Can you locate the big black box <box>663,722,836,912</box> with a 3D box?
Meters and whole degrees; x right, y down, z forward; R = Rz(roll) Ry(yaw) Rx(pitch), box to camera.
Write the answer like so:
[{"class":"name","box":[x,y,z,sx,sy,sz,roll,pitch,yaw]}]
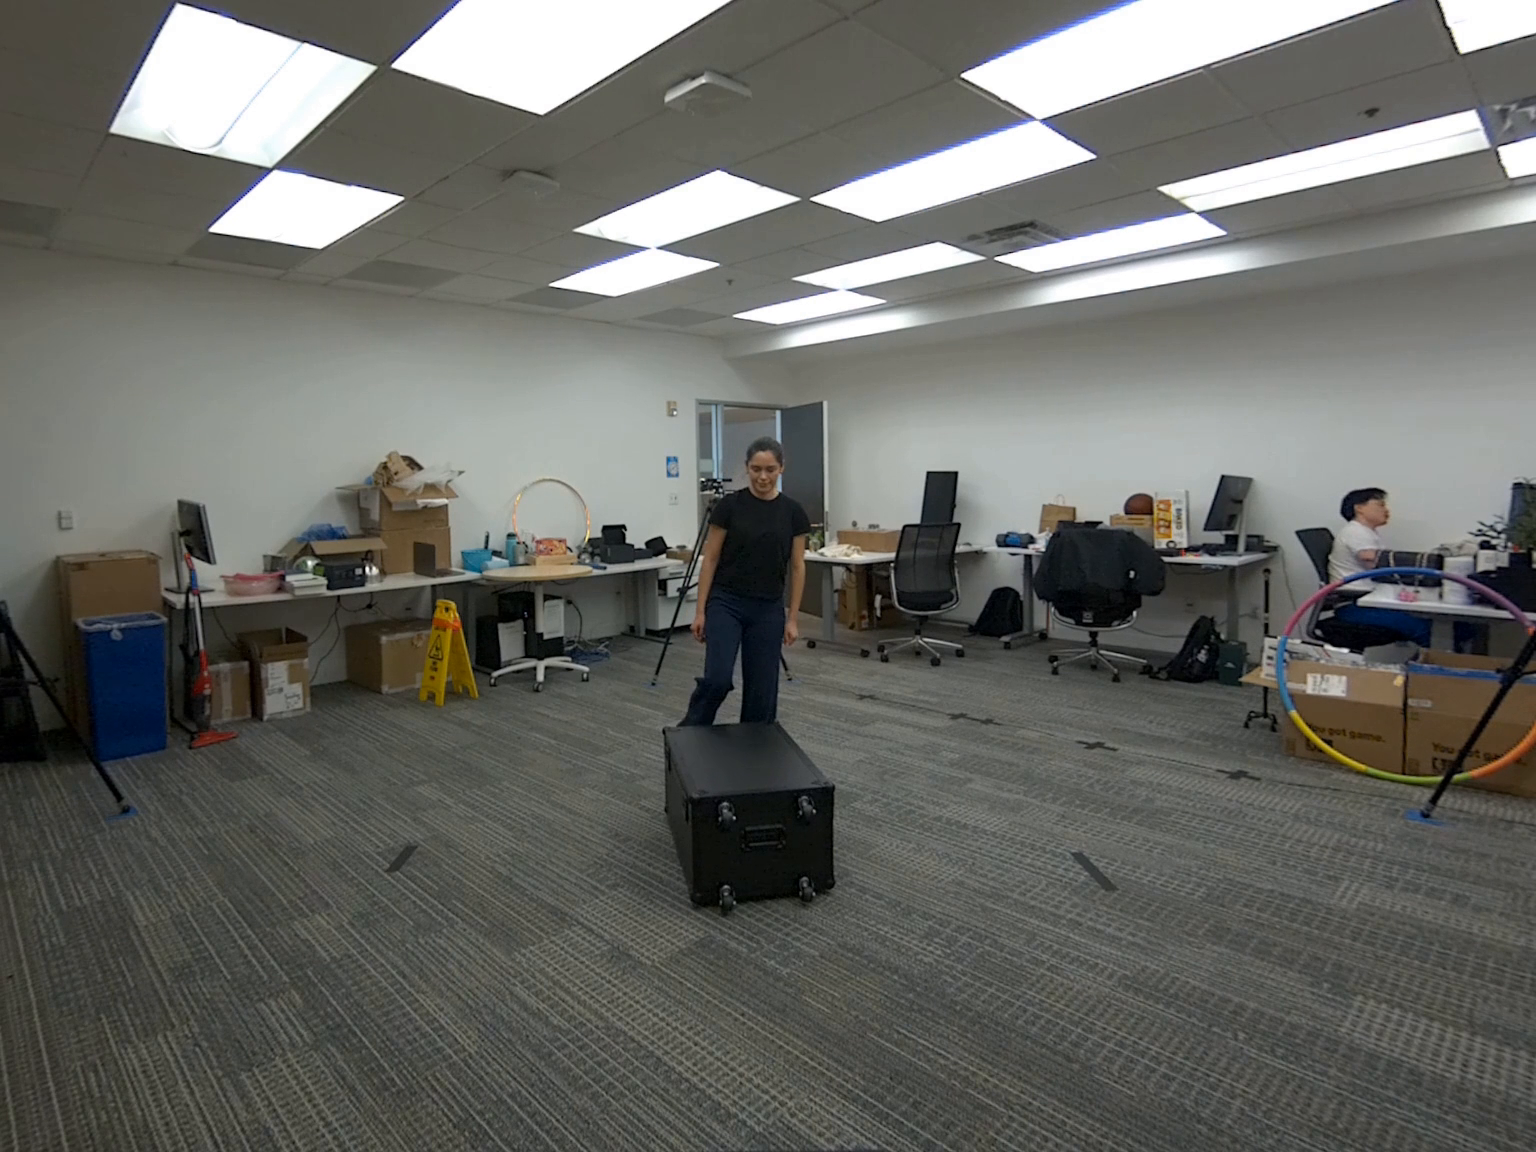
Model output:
[{"class":"big black box","box":[-0.101,0.848,3.166,0.515,0.394,0.875,-2,6,-13]}]
